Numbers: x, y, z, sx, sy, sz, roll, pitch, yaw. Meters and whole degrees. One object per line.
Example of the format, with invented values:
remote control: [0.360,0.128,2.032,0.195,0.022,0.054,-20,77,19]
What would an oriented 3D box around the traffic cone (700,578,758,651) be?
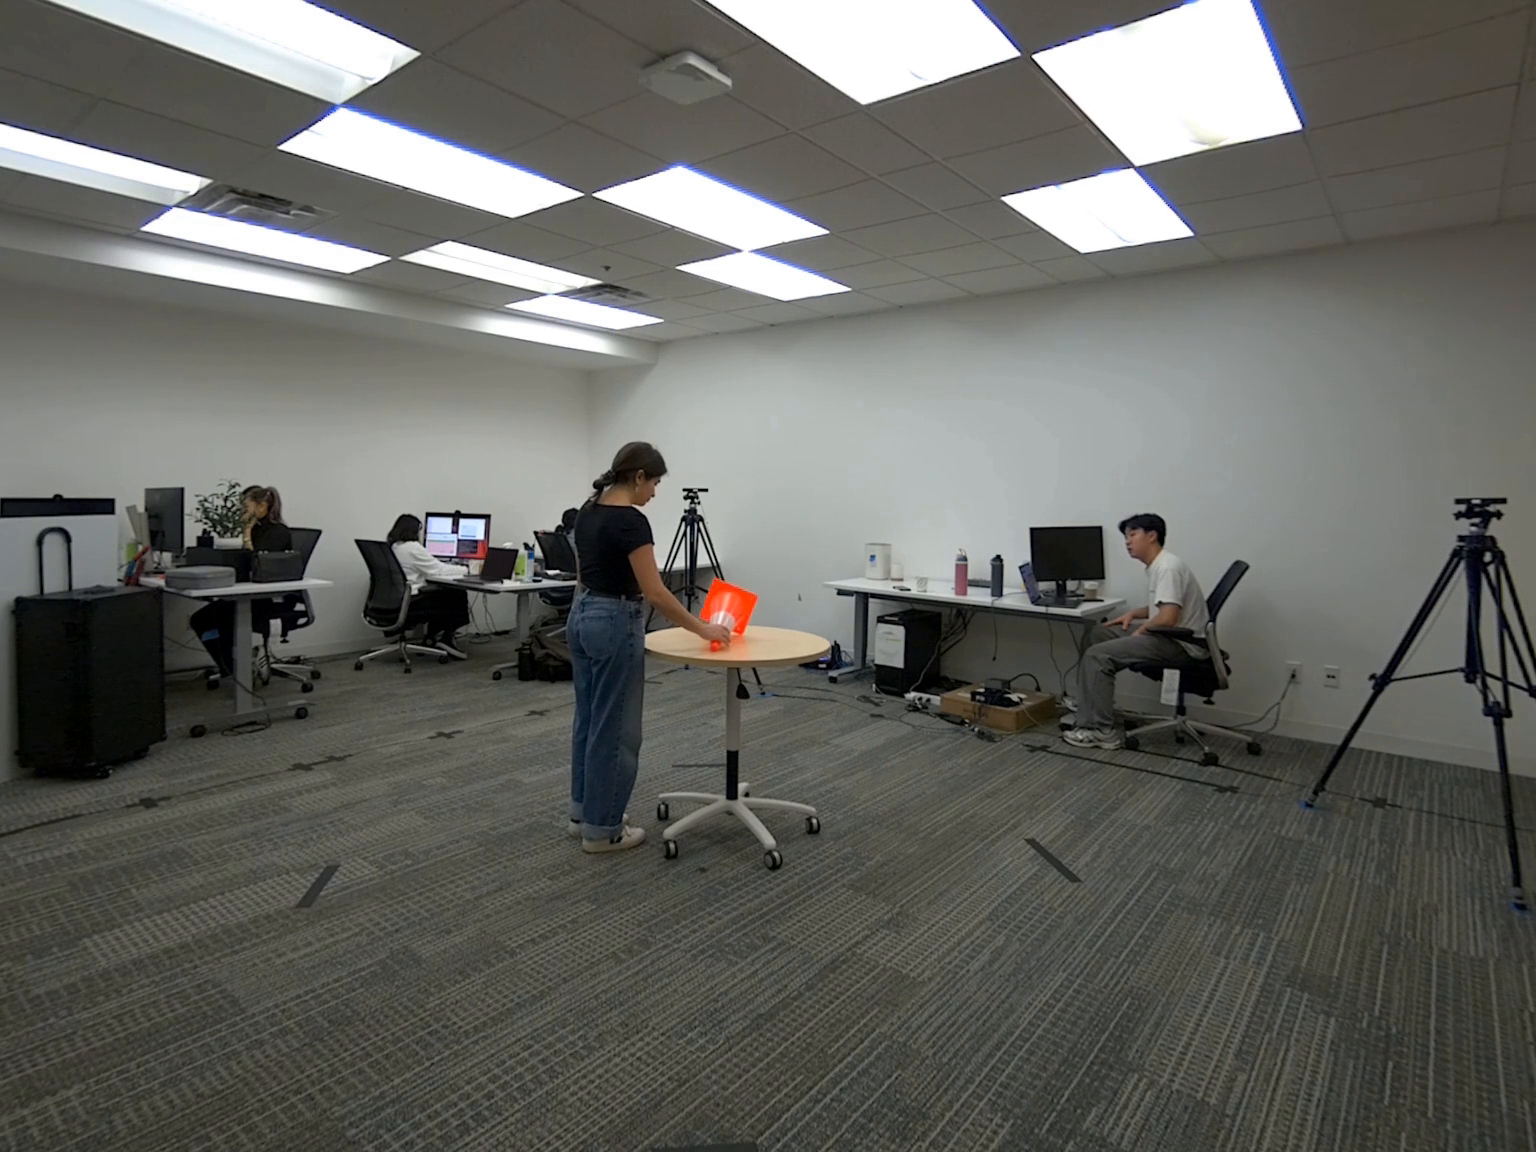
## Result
traffic cone: [-0.180,0.193,3.353,0.204,0.201,0.389,20,21,-4]
